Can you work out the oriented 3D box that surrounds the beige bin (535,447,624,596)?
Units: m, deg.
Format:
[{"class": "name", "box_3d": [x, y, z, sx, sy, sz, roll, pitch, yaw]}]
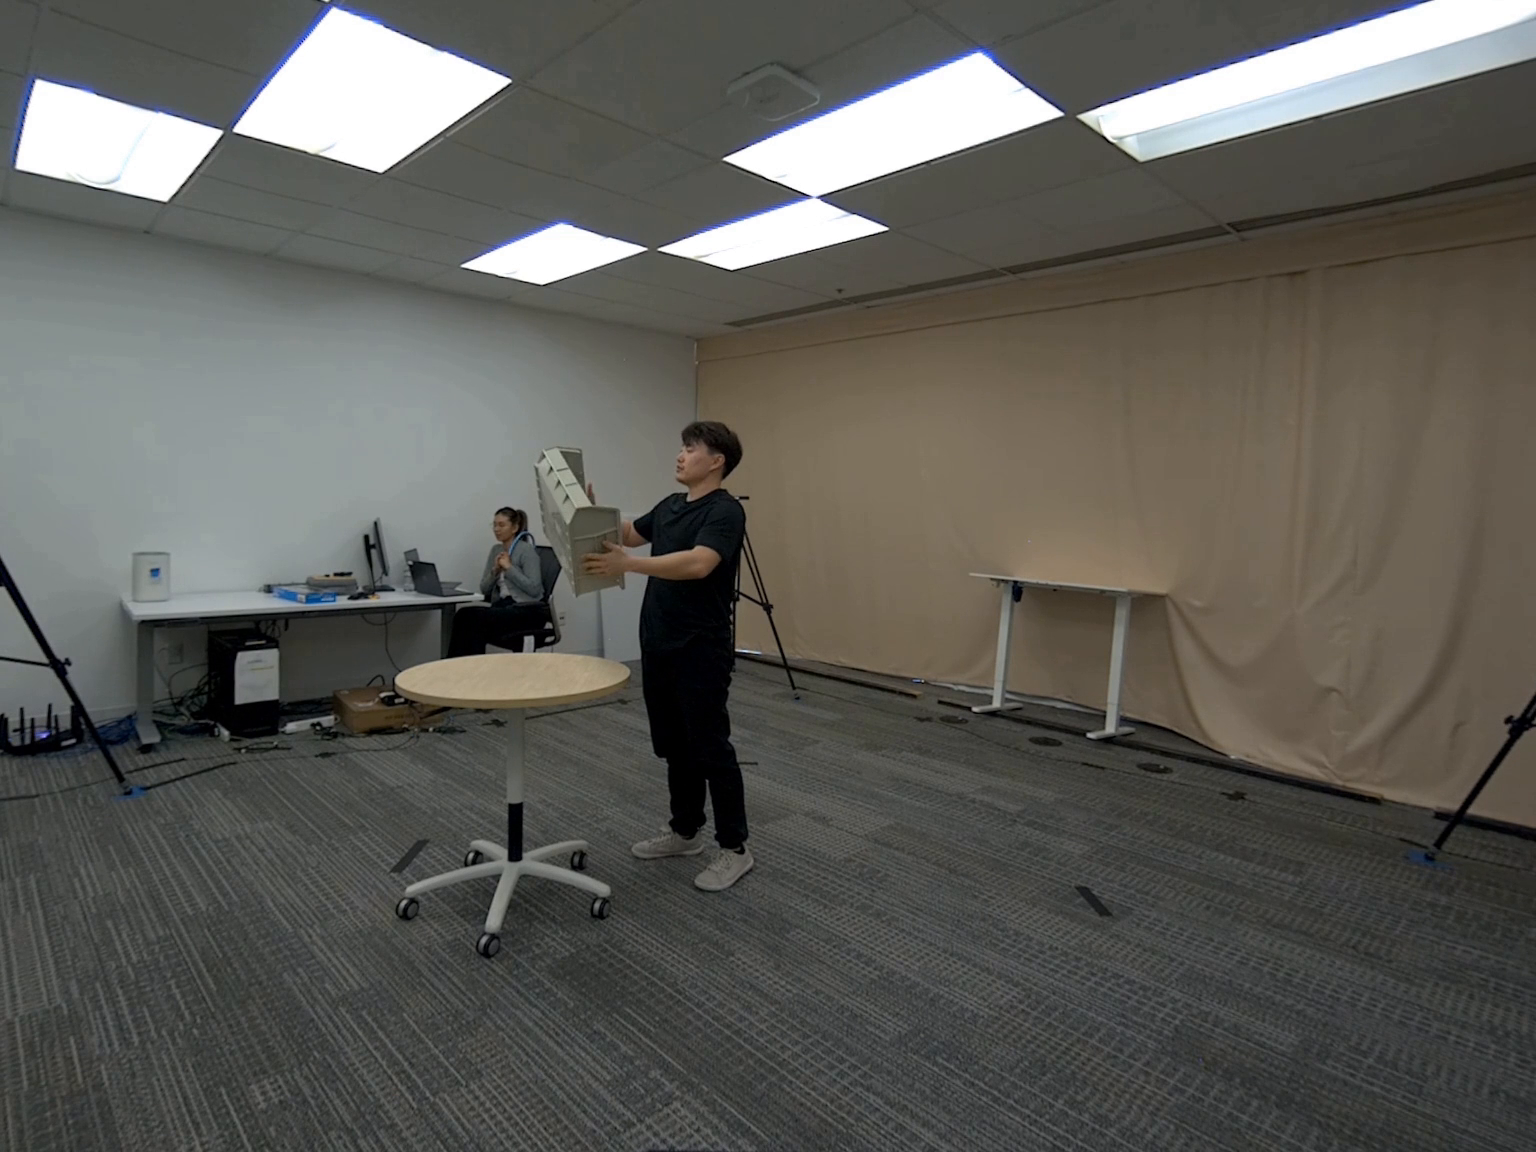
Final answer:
[{"class": "beige bin", "box_3d": [-0.675, -0.197, 2.961, 0.186, 0.370, 0.436, -15, 41, -24]}]
